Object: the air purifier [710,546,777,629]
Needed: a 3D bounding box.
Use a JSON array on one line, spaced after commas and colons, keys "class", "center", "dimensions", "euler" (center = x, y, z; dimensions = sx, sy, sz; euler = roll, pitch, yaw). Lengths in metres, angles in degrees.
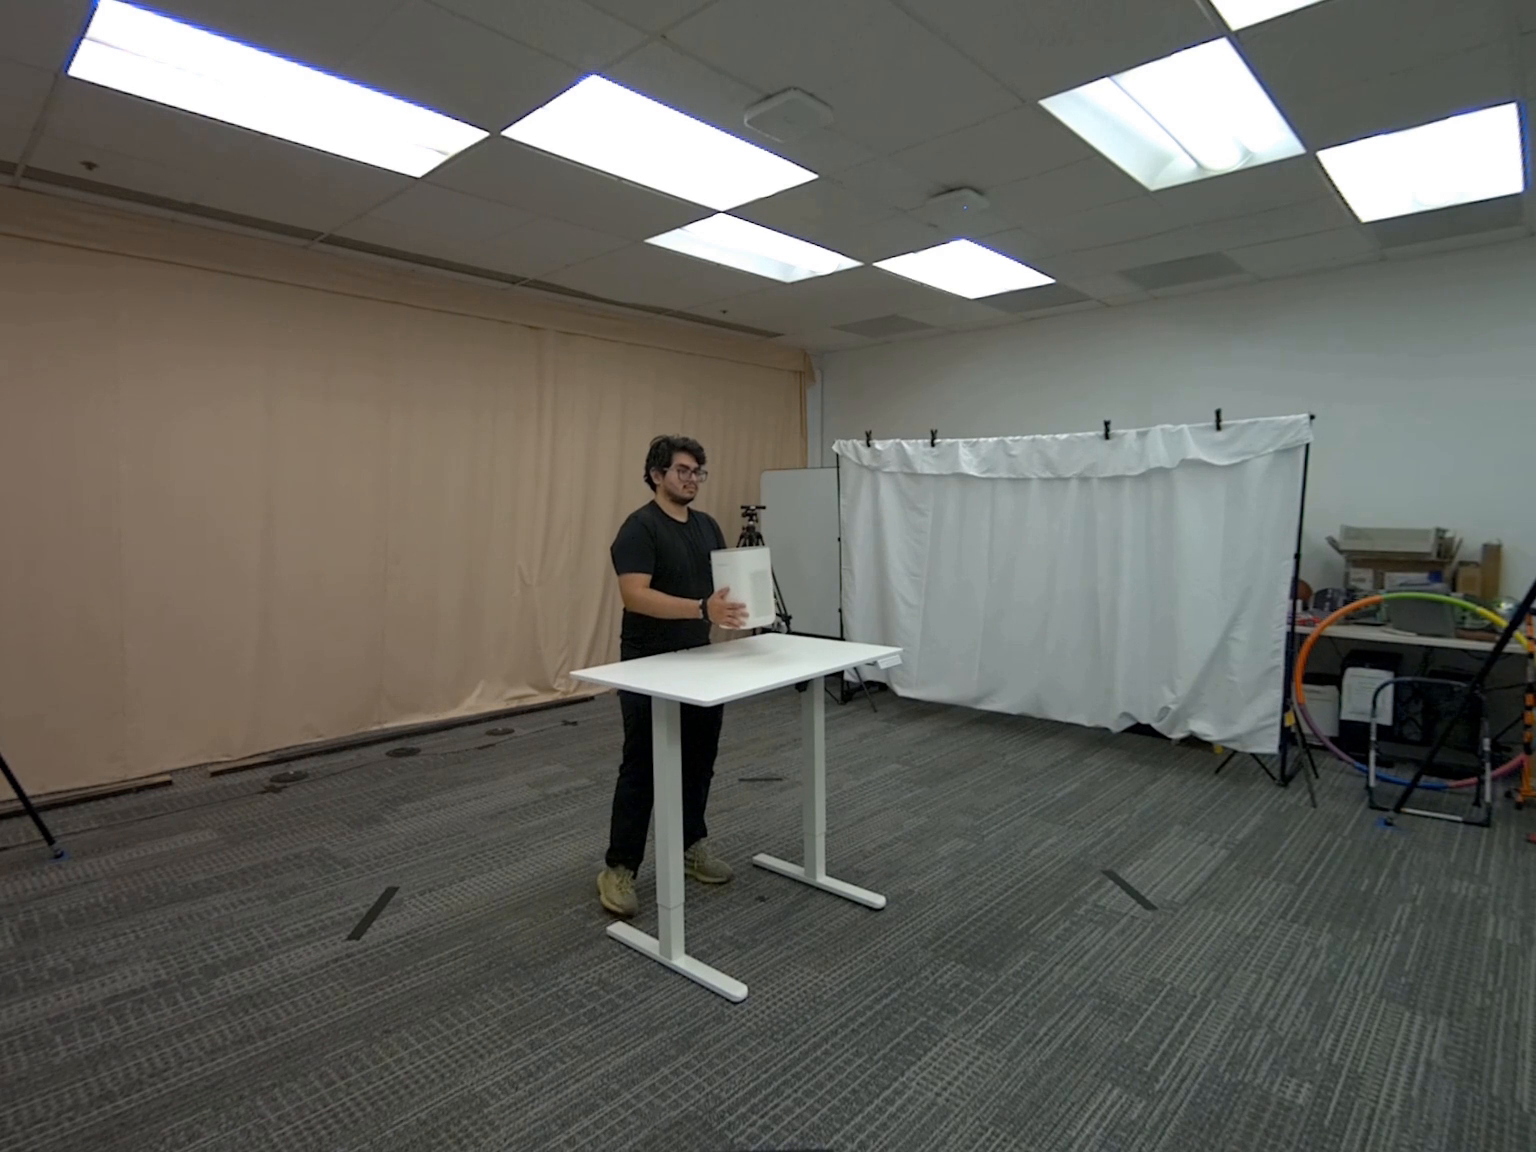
[{"class": "air purifier", "center": [-0.083, 0.037, 2.841], "dimensions": [0.176, 0.265, 0.166], "euler": [-3, 3, 42]}]
